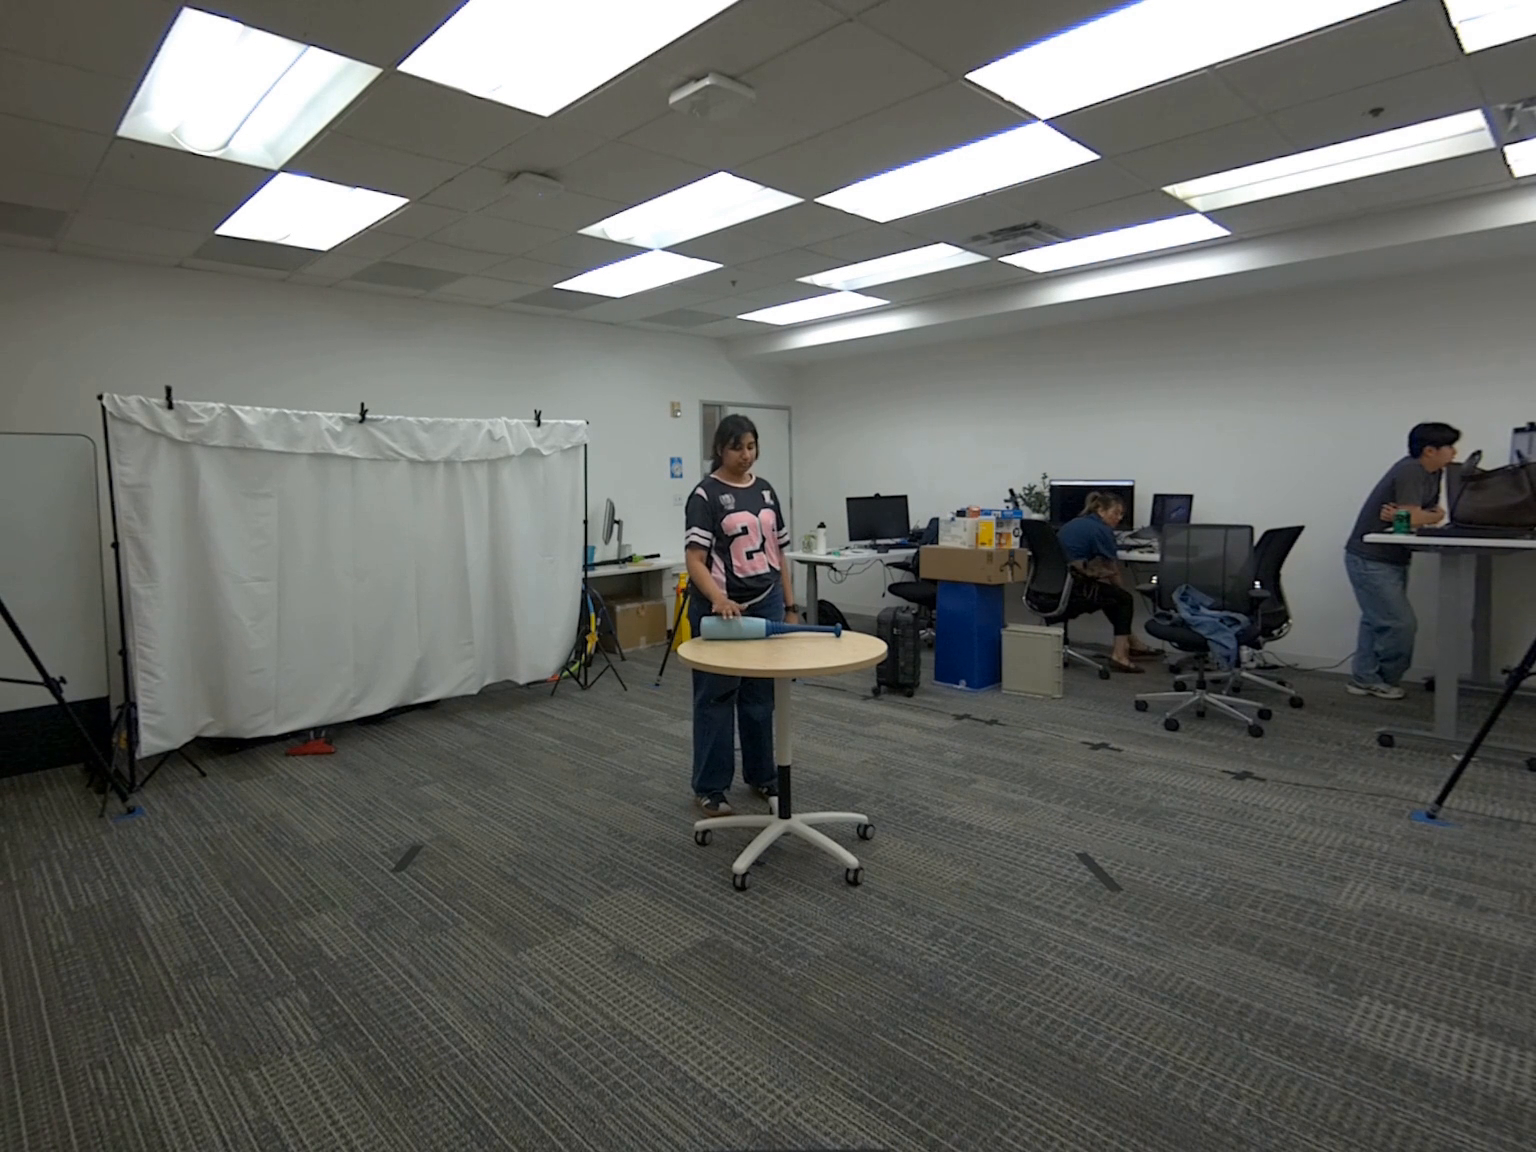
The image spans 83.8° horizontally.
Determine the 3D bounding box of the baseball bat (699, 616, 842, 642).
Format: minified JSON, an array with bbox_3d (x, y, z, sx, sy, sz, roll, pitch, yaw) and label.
[{"bbox_3d":[0.019,0.206,3.296,0.542,0.089,0.089,0,5,-1],"label":"baseball bat"}]
